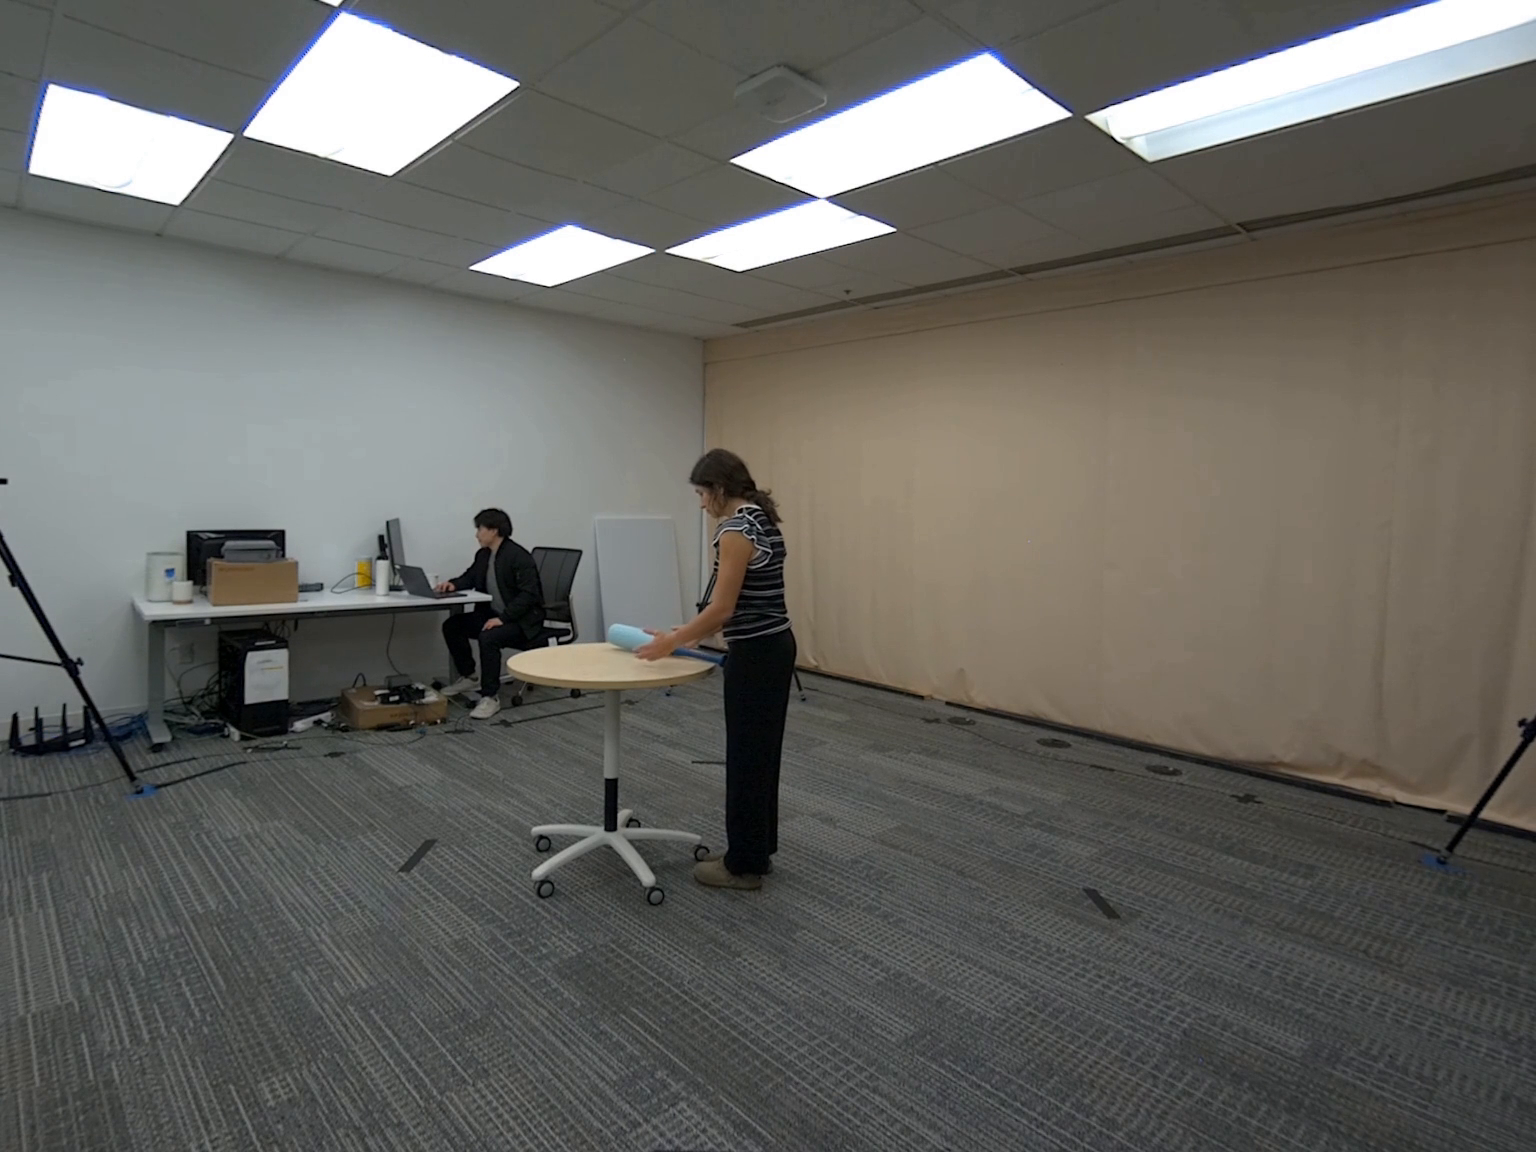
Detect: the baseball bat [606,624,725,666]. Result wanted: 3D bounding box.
[{"bbox_3d":[-0.387,0.273,3.214,0.555,0.089,0.087,10,8,28],"label":"baseball bat"}]
